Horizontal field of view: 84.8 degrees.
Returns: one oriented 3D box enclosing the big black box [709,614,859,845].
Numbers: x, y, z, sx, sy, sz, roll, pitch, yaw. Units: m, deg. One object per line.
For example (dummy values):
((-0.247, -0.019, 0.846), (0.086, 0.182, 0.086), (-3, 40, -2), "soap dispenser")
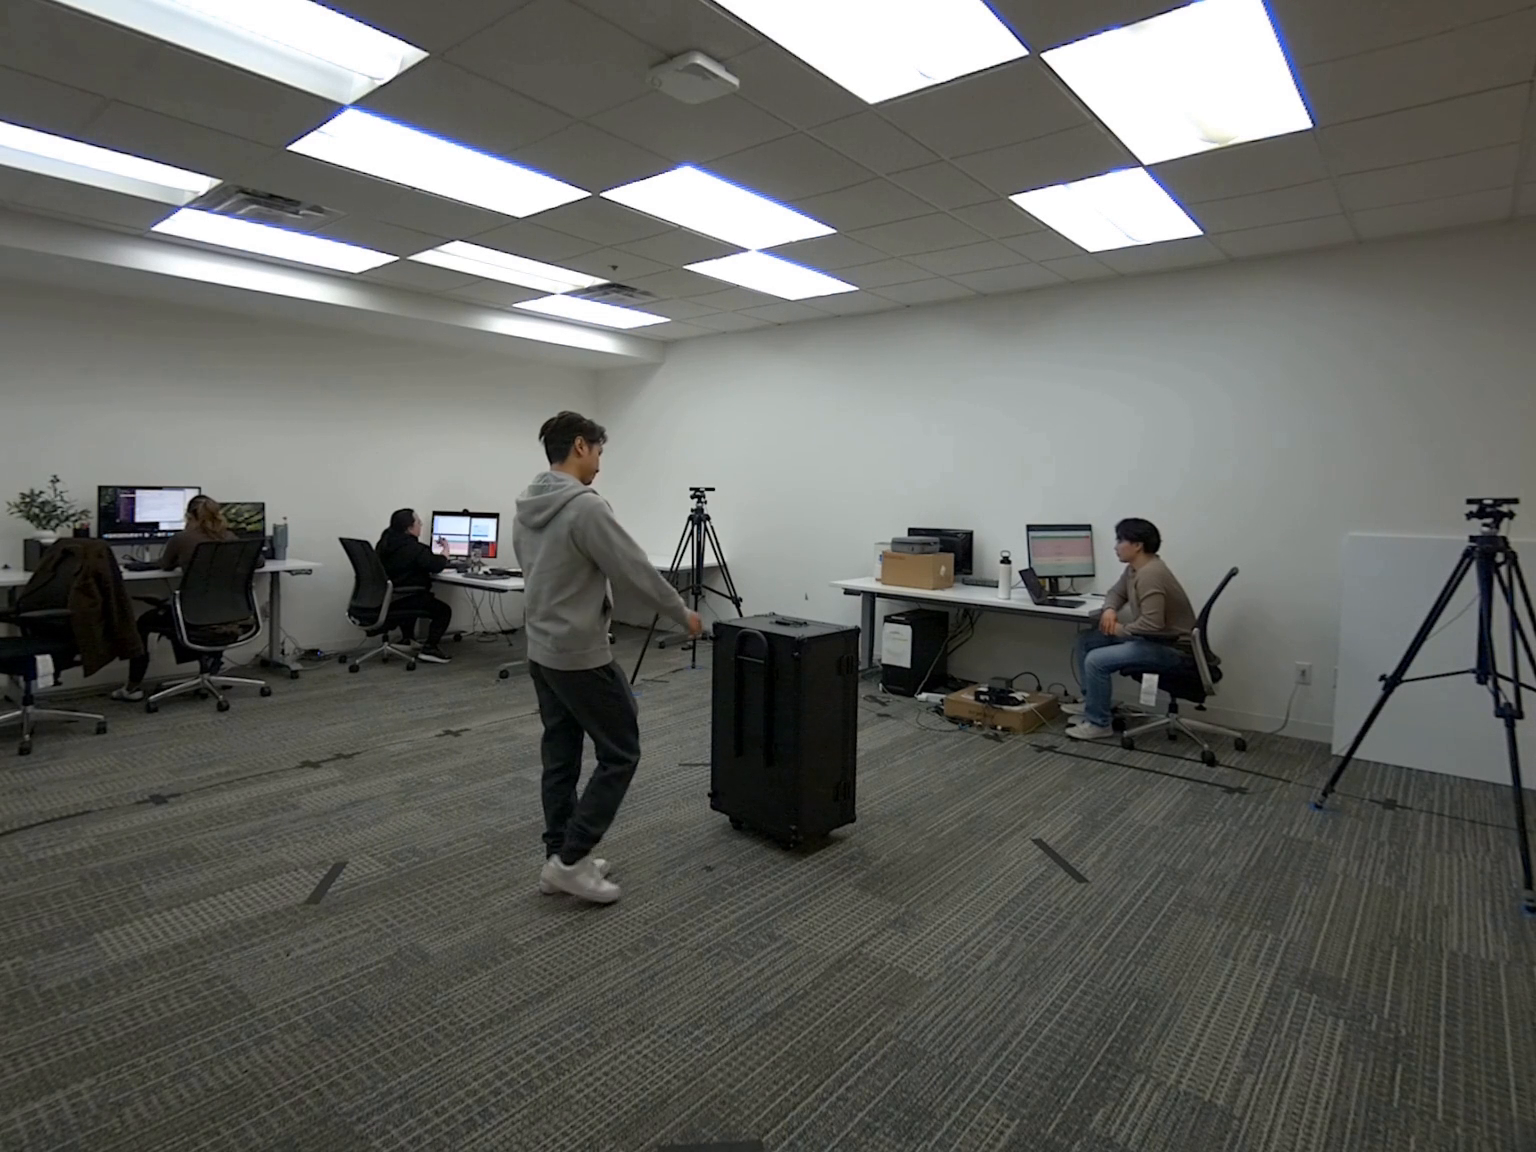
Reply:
((0.050, 0.618, 3.426), (0.539, 0.858, 0.384), (5, 6, 44), "big black box")
